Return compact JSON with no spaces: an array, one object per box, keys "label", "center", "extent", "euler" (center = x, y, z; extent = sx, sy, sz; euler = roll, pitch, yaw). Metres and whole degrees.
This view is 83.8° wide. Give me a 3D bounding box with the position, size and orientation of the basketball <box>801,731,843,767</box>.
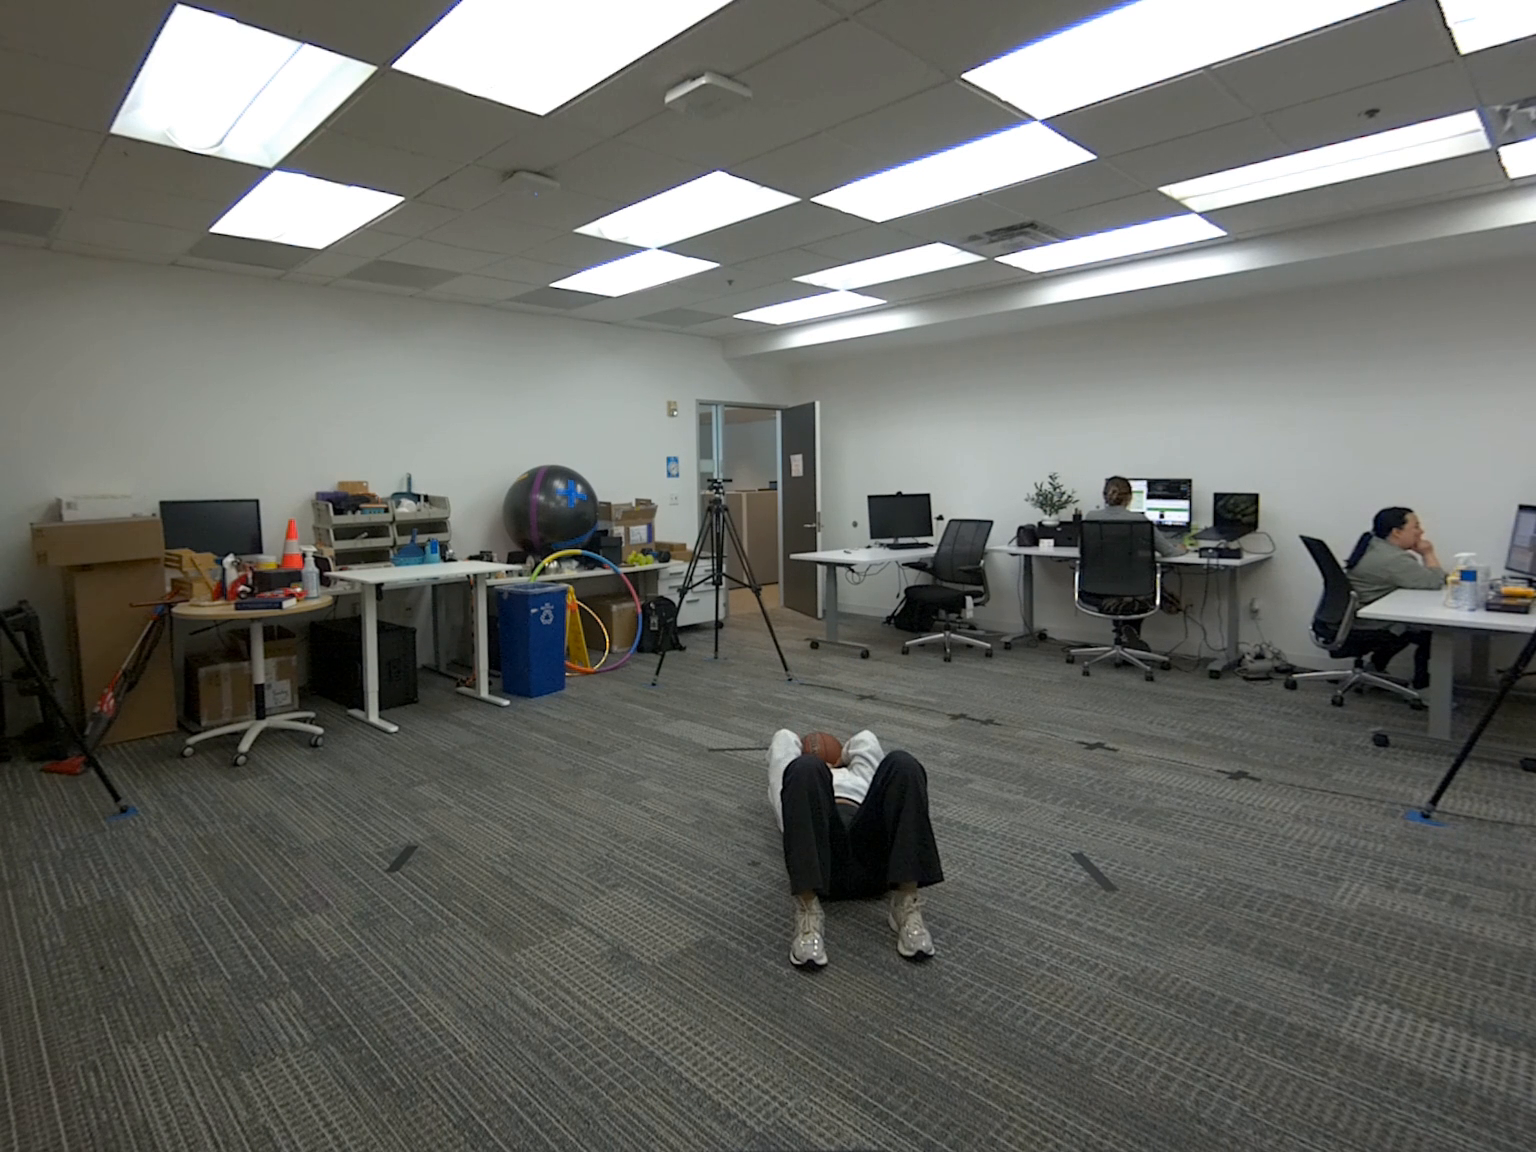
[{"label":"basketball","center":[0.234,0.809,3.865],"extent":[0.236,0.235,0.237],"euler":[-1,5,-2]}]
